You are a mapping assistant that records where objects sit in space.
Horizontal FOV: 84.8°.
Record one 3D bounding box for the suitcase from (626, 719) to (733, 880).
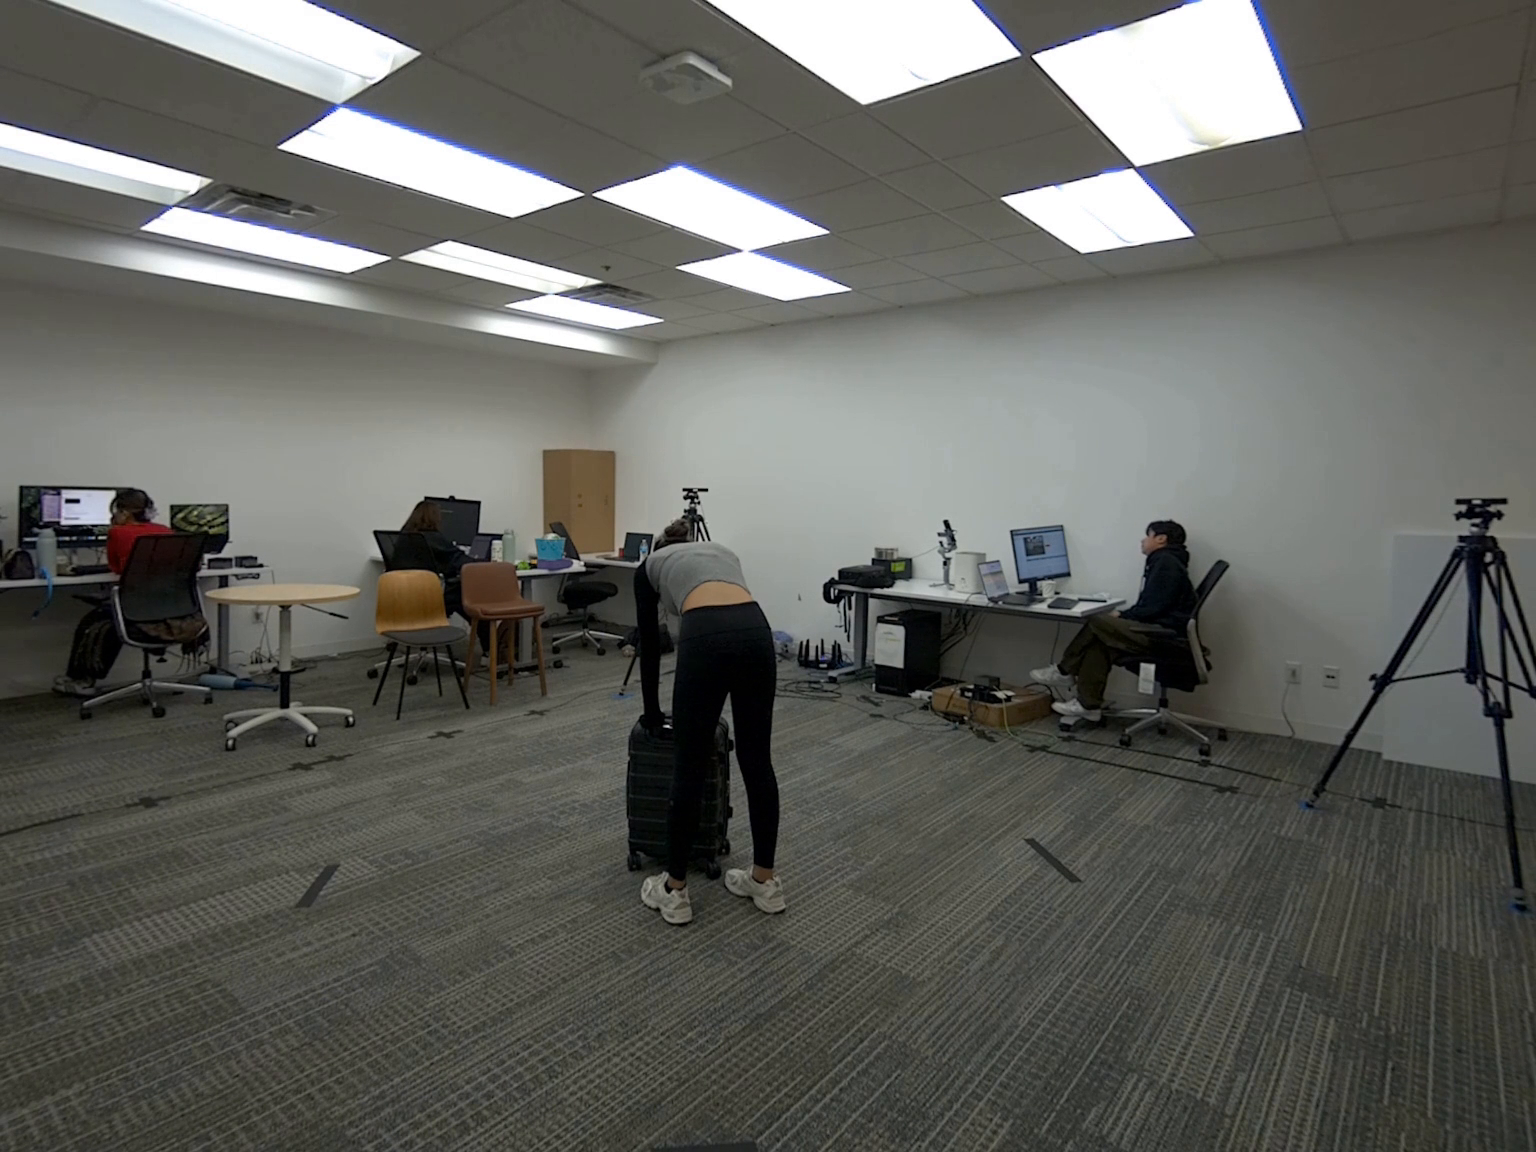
[{"bbox_3d":[-0.343,0.786,3.186,0.380,0.549,0.245,1,1,12],"label":"suitcase"}]
